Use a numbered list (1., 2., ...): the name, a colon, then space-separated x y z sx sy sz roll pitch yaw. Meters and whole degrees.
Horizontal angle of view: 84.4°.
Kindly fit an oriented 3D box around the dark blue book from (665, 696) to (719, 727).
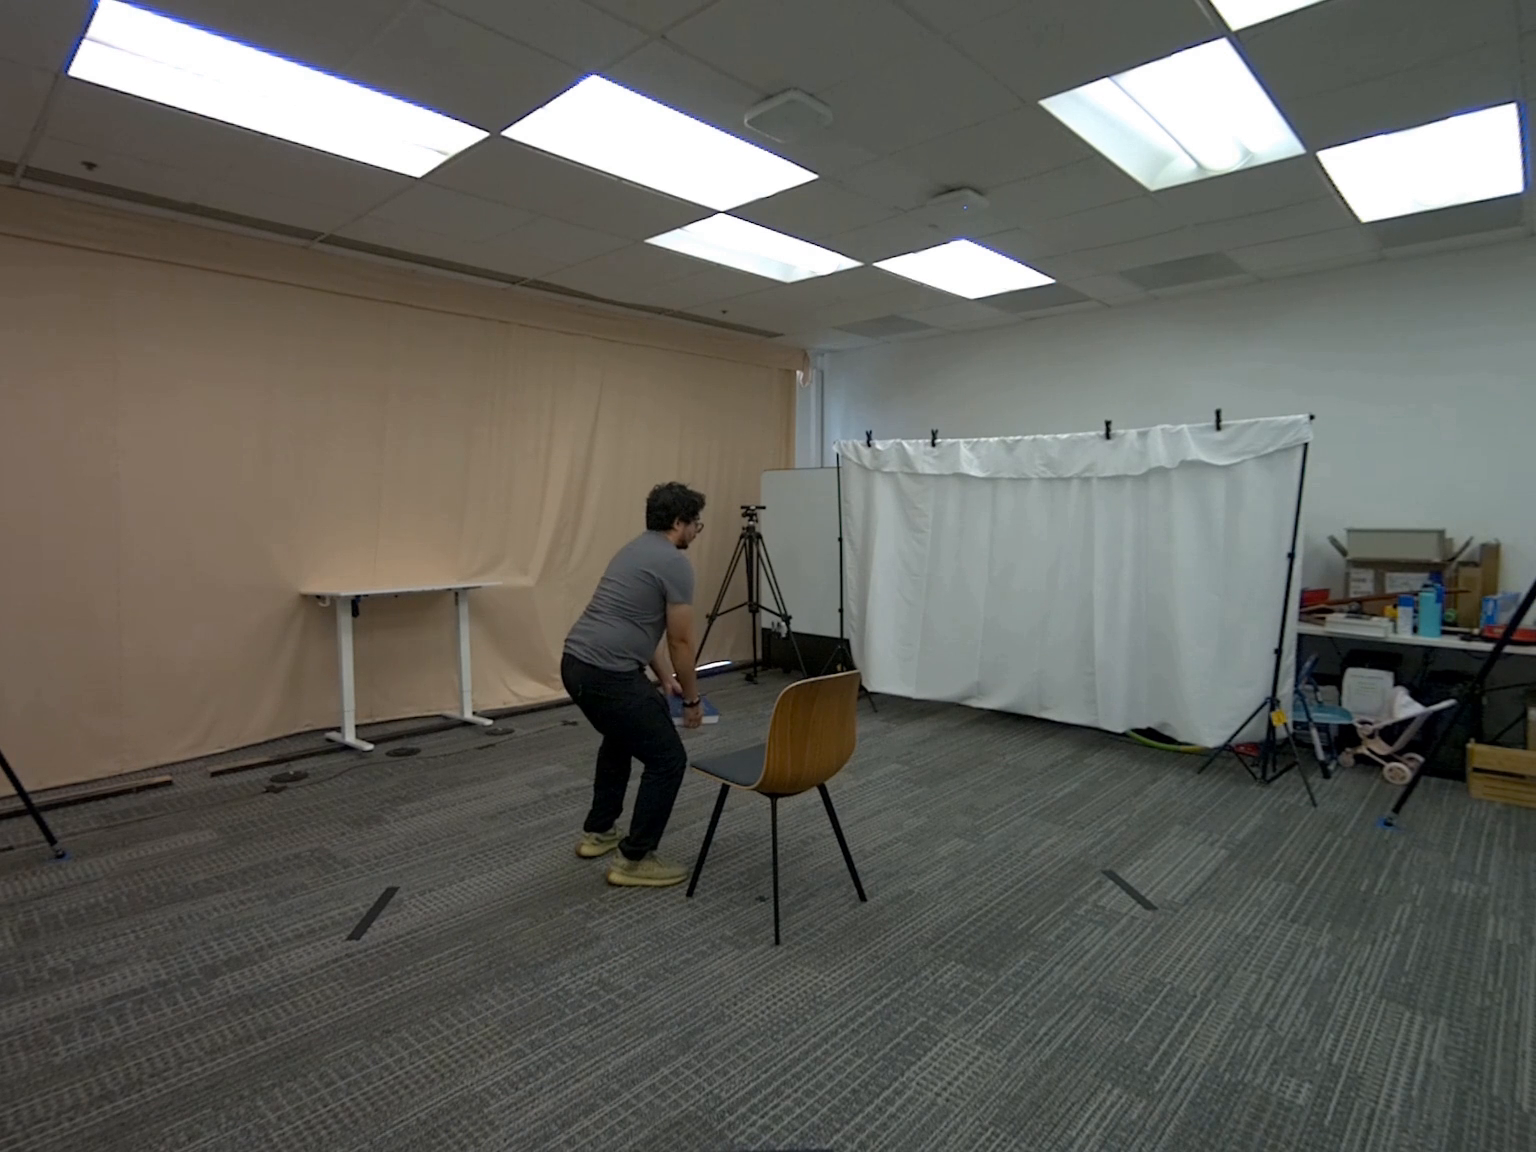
1. dark blue book: -0.330 0.553 3.413 0.238 0.045 0.169 0 22 -32
